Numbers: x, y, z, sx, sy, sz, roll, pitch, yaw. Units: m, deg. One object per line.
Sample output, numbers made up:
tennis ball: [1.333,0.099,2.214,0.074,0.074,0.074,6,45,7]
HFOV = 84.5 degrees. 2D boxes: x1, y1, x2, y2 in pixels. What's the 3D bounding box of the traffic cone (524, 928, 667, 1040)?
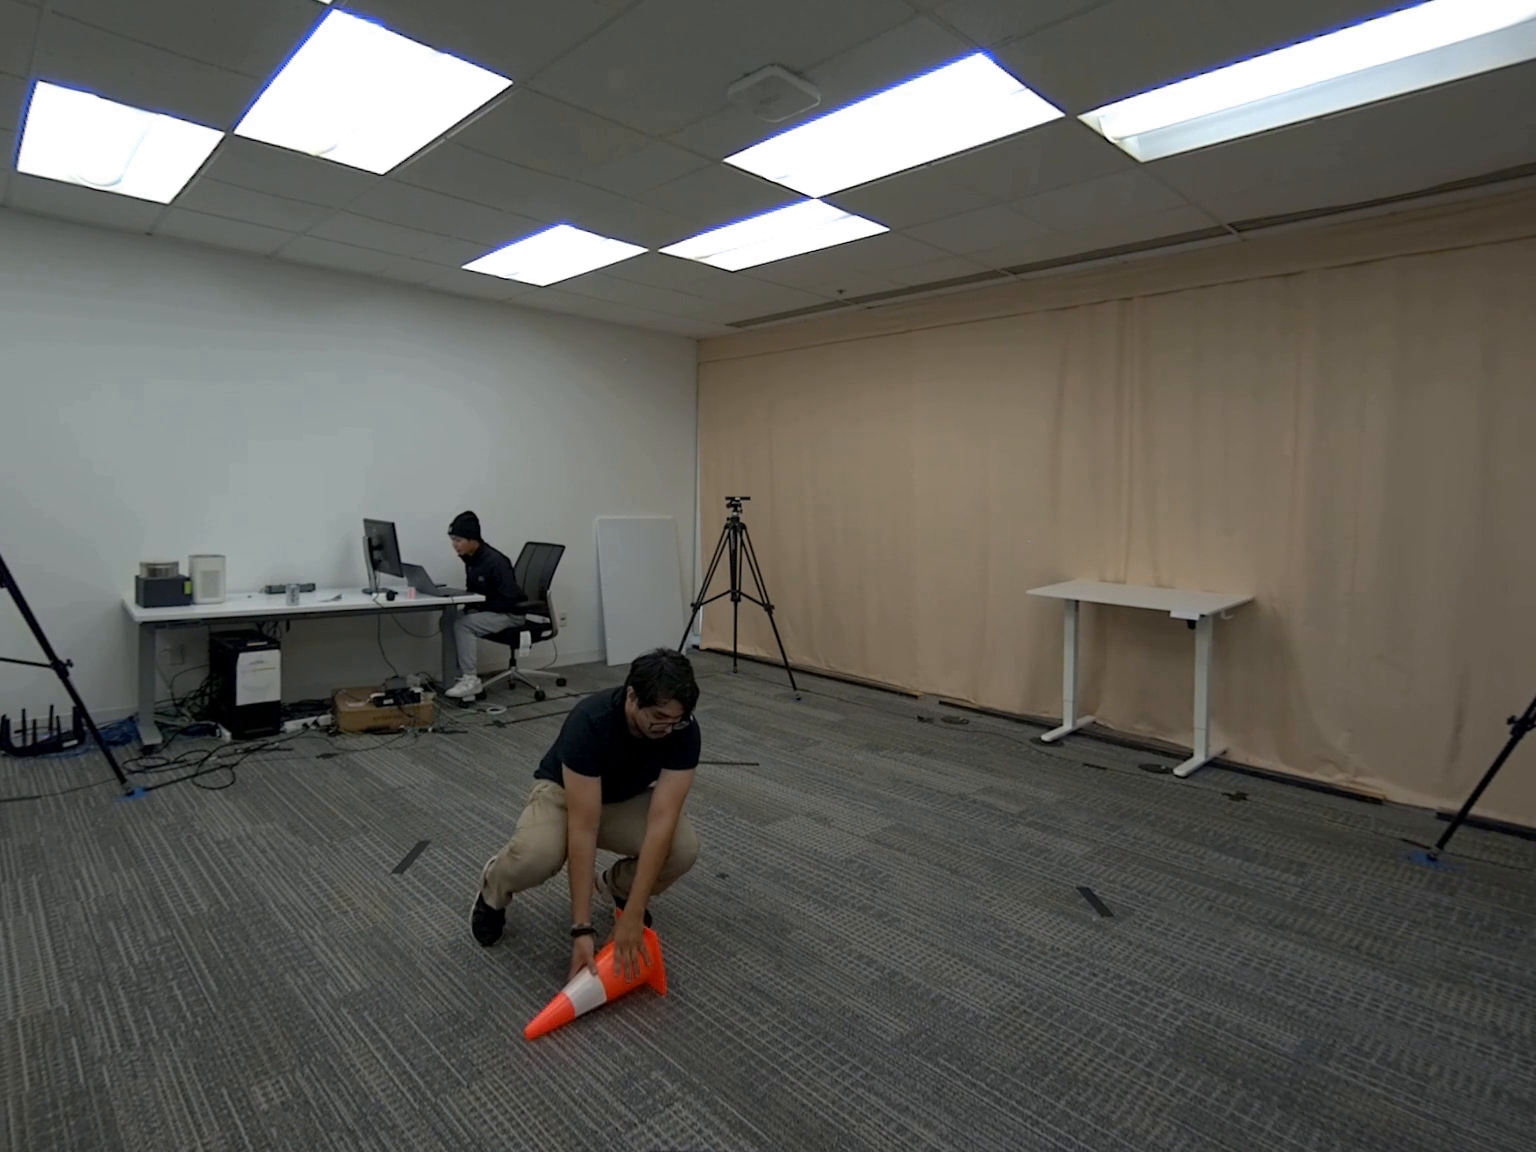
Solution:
traffic cone: [-0.507,1.126,2.255,0.210,0.202,0.378,-1,13,44]
